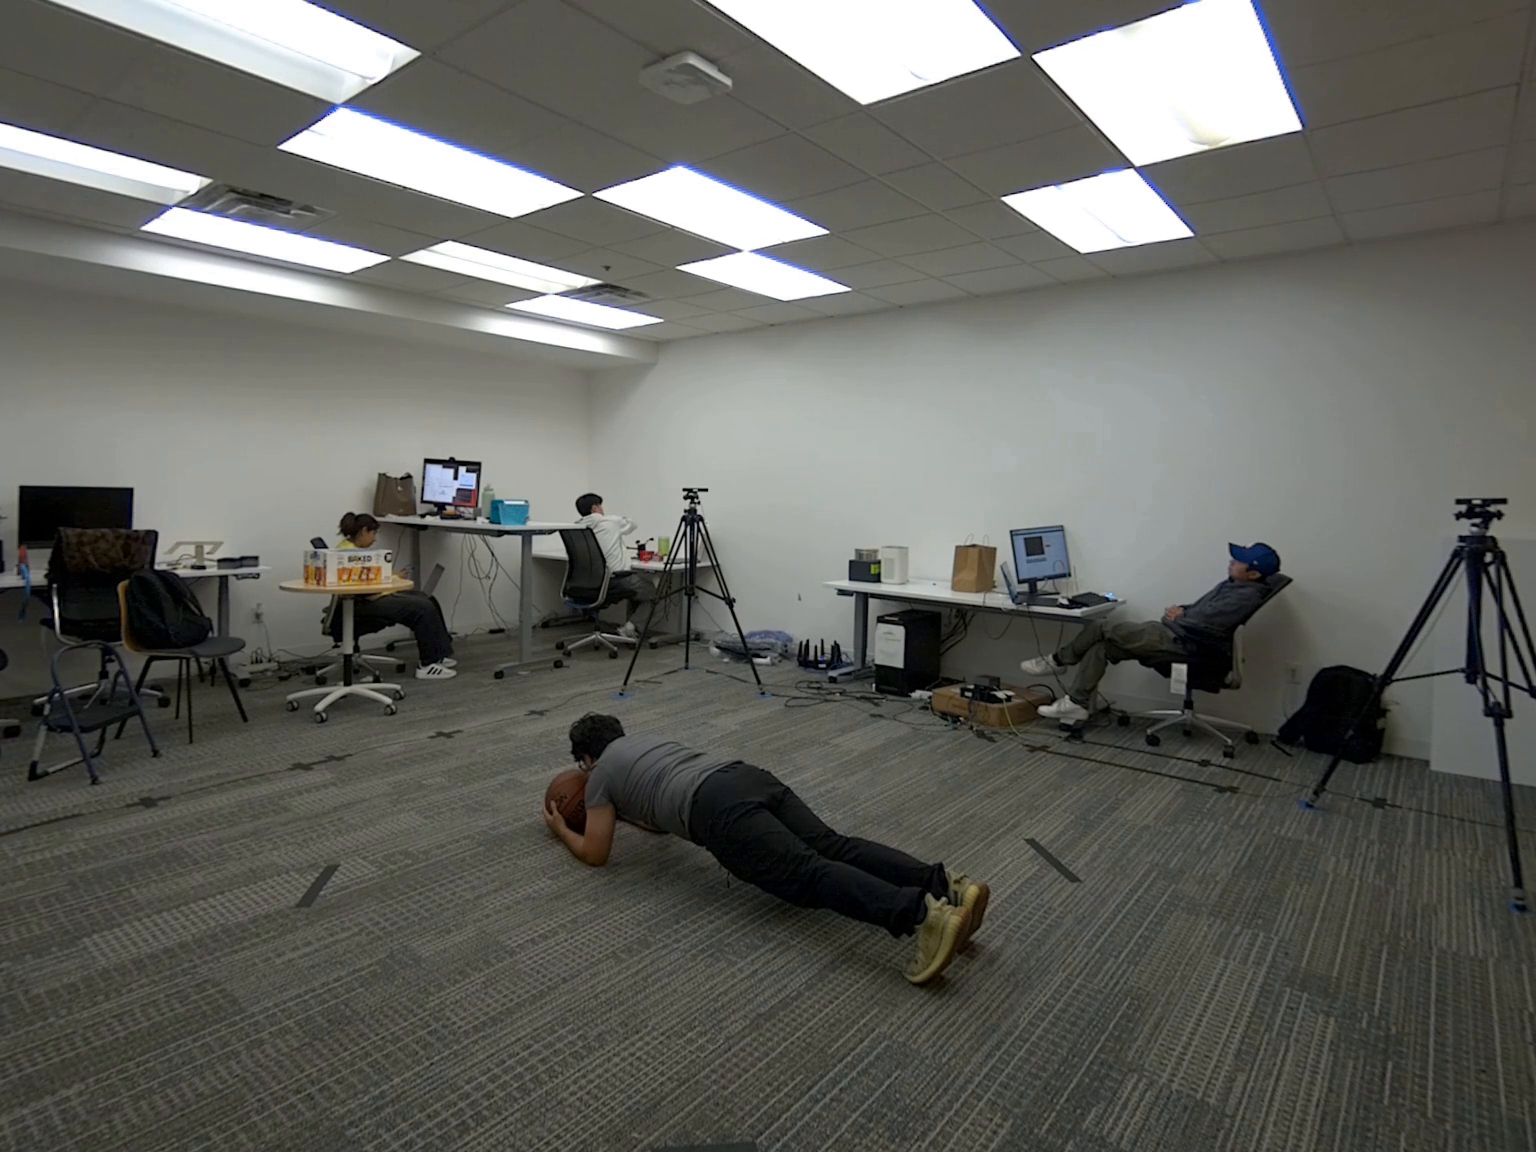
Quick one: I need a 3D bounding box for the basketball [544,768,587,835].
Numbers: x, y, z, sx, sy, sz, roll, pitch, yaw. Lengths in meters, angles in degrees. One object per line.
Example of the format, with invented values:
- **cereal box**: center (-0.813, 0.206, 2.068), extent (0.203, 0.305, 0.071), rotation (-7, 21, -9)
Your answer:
- **basketball**: center (-0.805, 0.908, 3.464), extent (0.235, 0.235, 0.237), rotation (1, 4, -2)
